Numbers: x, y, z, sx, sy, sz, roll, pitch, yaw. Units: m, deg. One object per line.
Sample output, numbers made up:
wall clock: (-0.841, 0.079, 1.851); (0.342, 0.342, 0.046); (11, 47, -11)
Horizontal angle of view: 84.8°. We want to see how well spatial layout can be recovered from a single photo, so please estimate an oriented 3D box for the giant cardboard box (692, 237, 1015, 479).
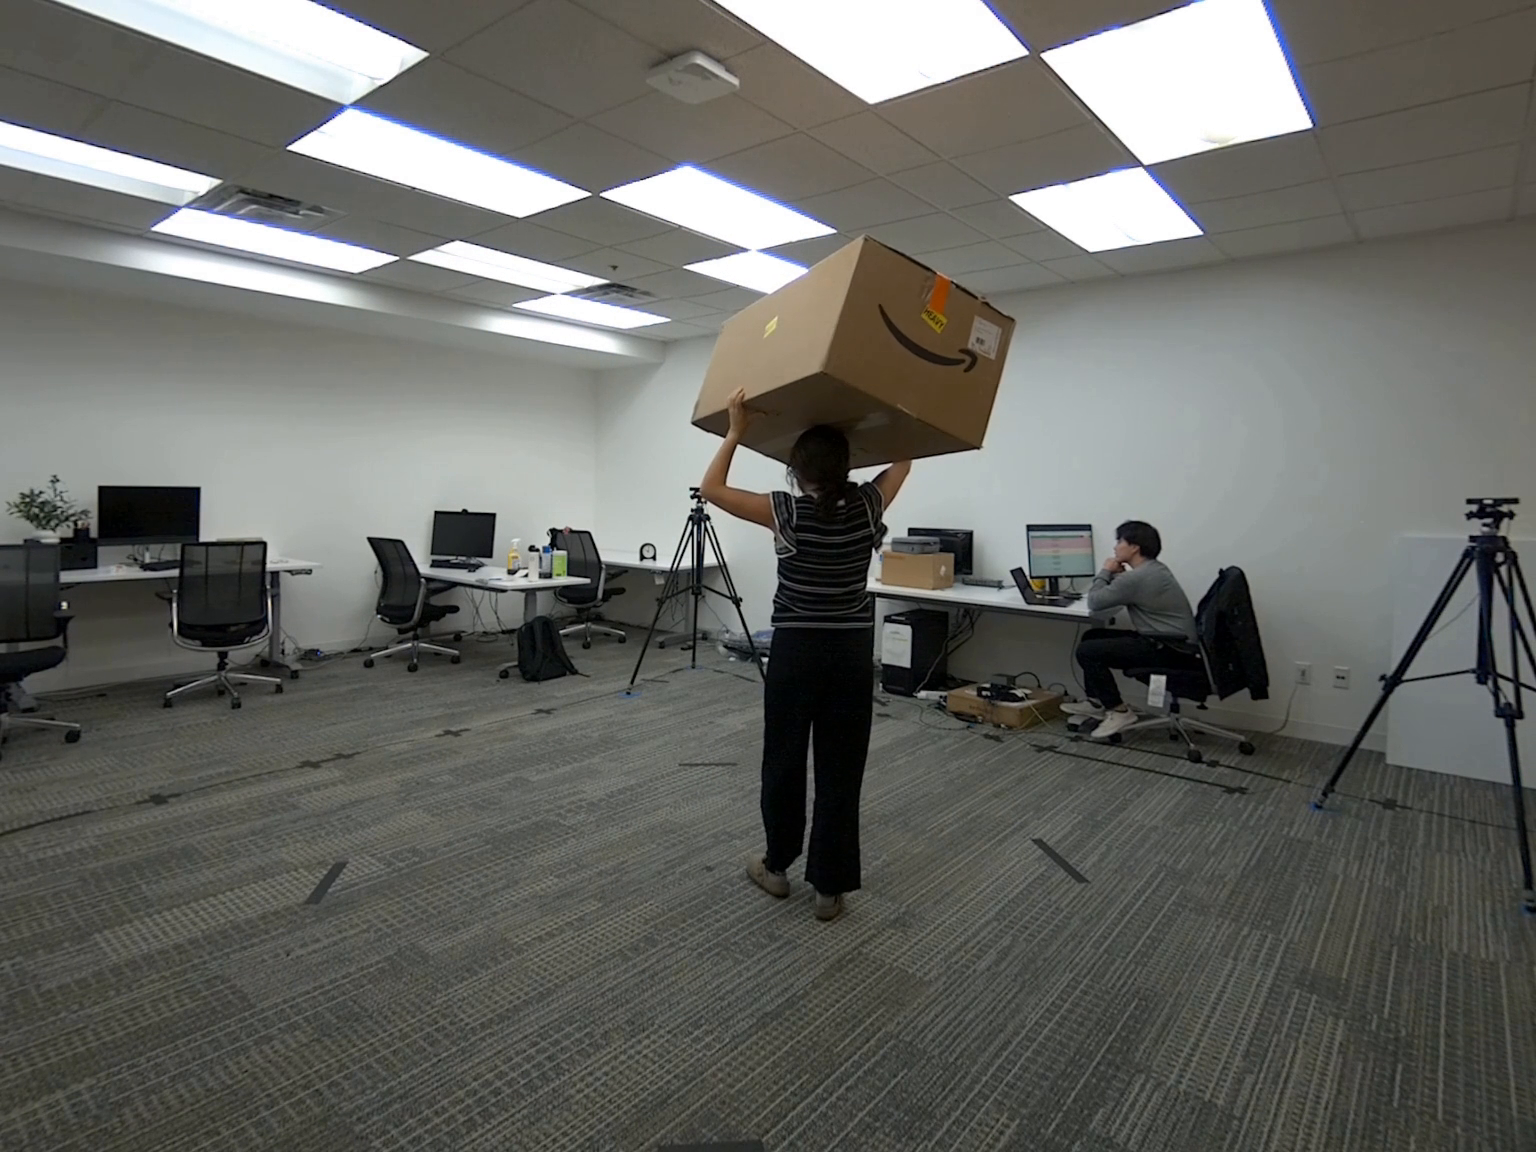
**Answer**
giant cardboard box: (0.219, -0.673, 2.907); (0.561, 0.428, 1.051); (21, -7, -24)
